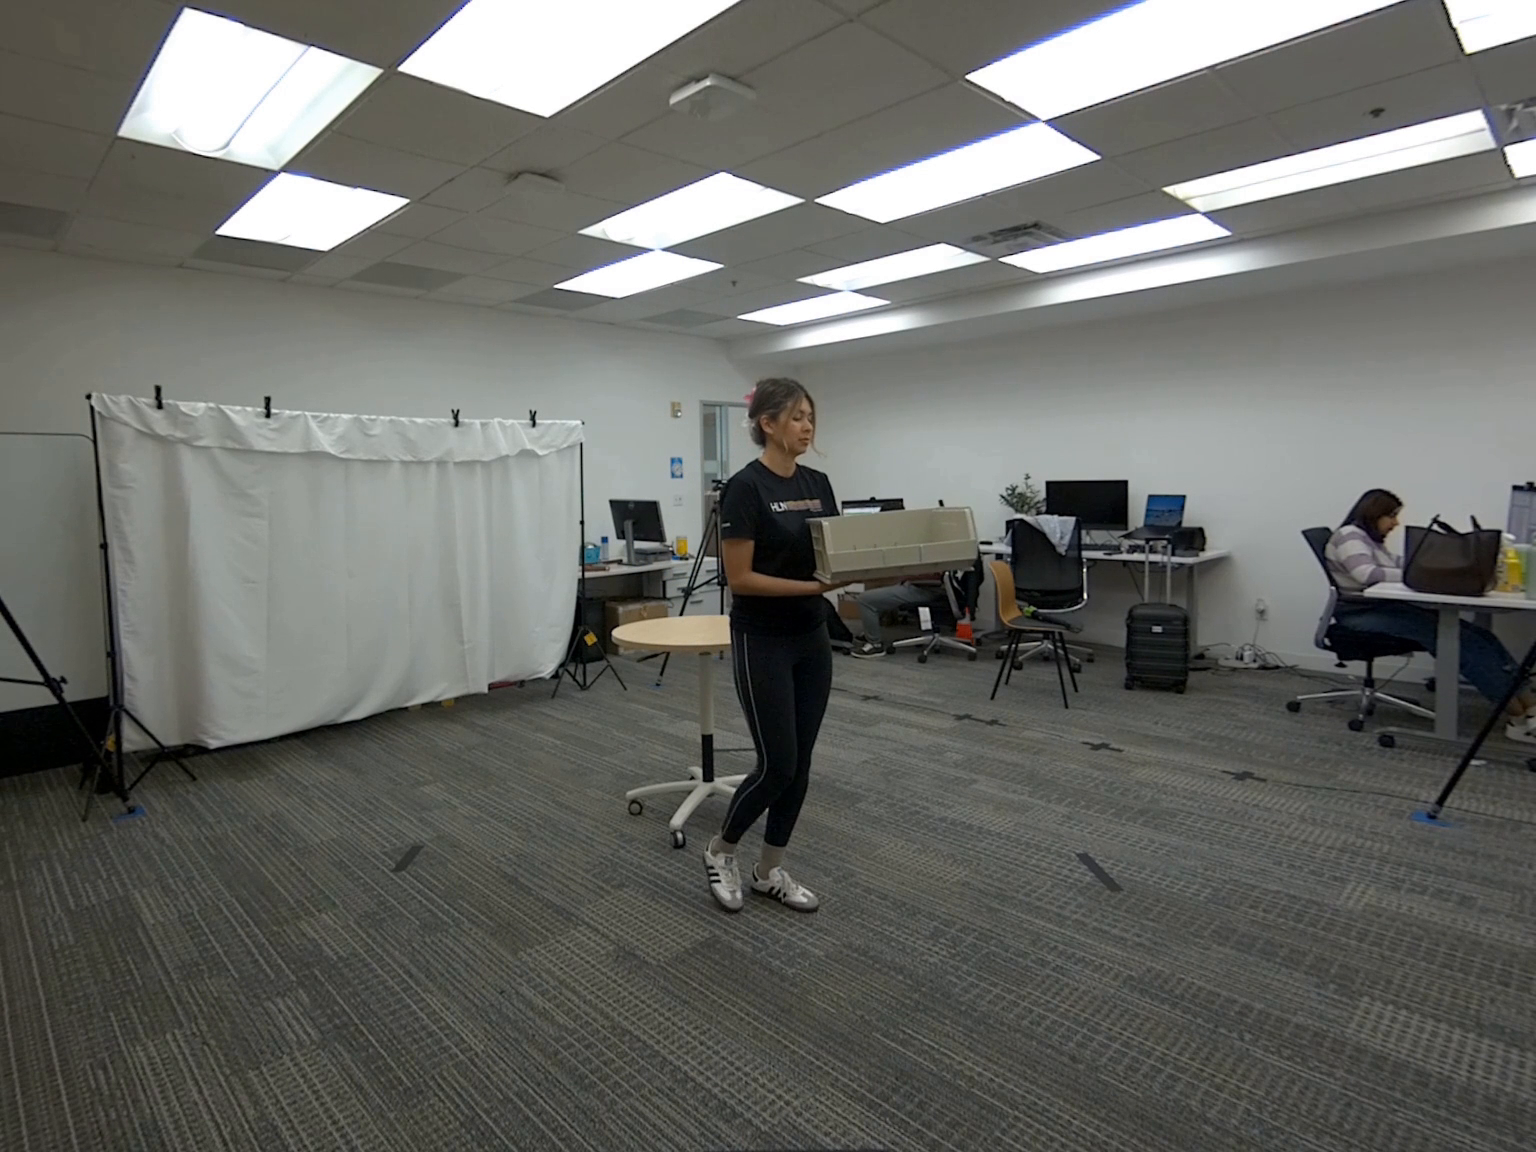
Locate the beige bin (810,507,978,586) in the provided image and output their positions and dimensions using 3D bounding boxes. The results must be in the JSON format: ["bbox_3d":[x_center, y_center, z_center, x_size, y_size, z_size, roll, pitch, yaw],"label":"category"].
[{"bbox_3d":[0.349,-0.097,2.505,0.422,0.189,0.377,-6,2,0],"label":"beige bin"}]
